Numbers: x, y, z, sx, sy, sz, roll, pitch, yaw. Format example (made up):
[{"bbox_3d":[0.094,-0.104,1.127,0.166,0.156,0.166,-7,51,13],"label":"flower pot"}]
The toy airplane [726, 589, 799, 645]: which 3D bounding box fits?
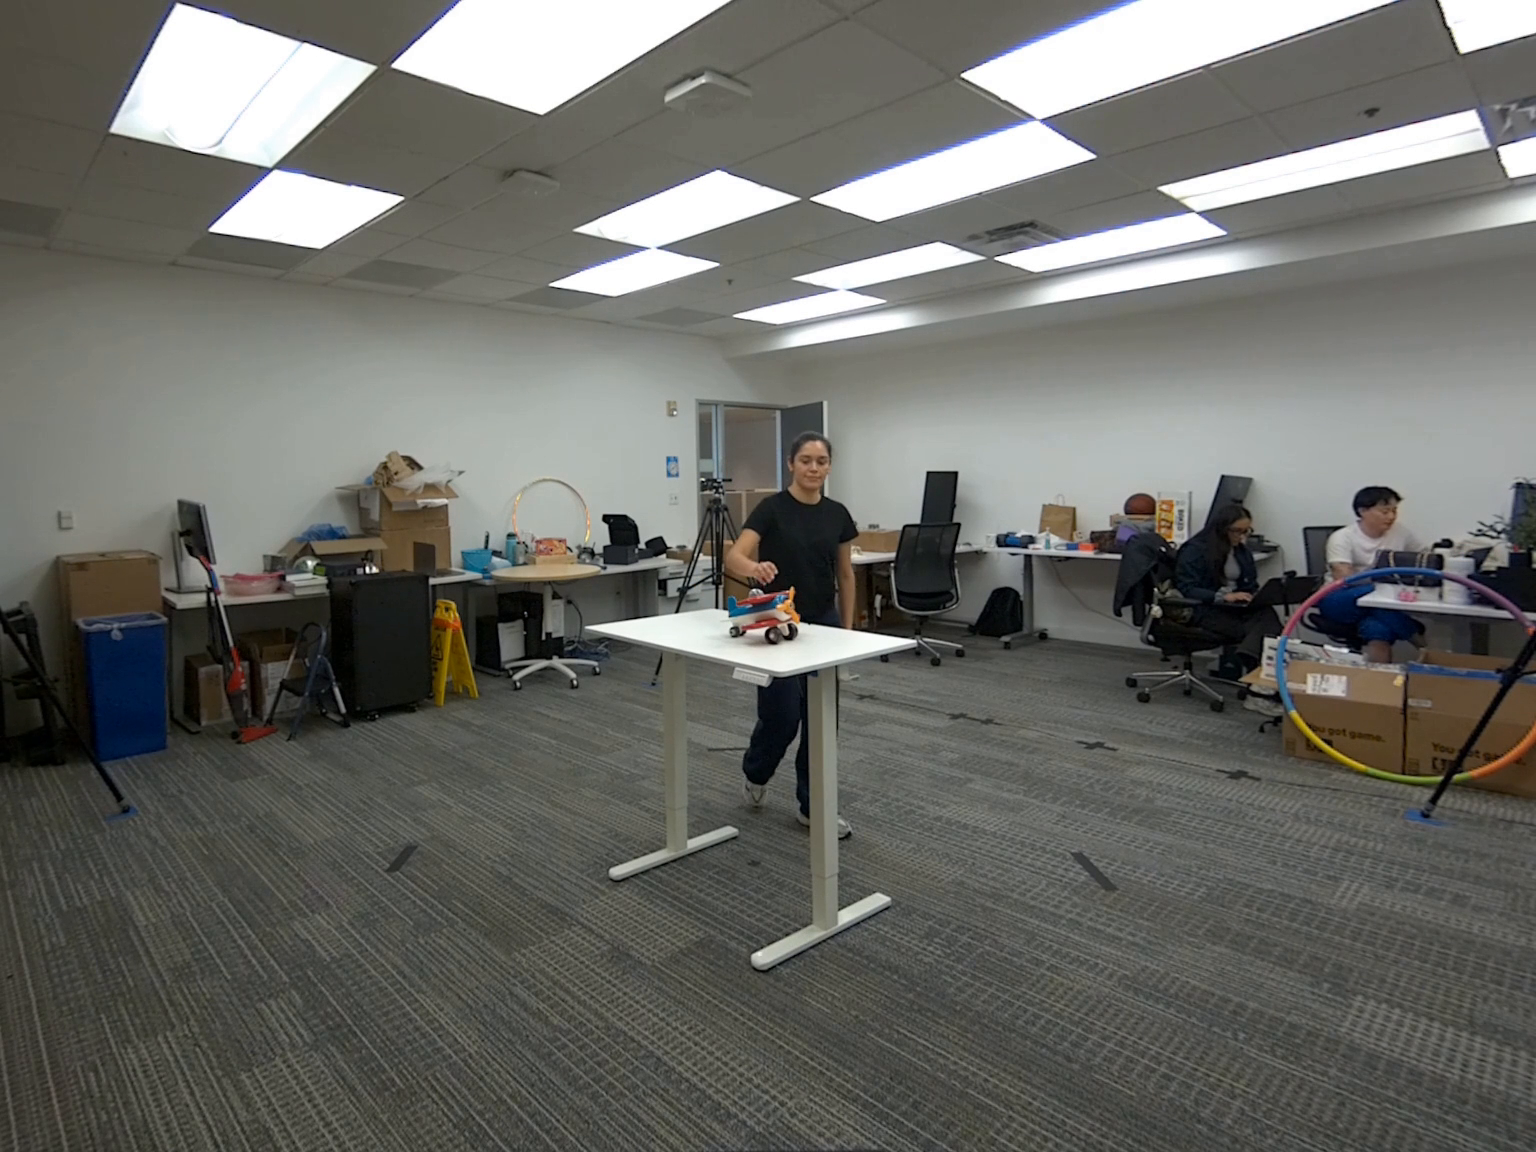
[{"bbox_3d":[-0.031,0.130,2.731,0.262,0.155,0.250,0,7,10],"label":"toy airplane"}]
